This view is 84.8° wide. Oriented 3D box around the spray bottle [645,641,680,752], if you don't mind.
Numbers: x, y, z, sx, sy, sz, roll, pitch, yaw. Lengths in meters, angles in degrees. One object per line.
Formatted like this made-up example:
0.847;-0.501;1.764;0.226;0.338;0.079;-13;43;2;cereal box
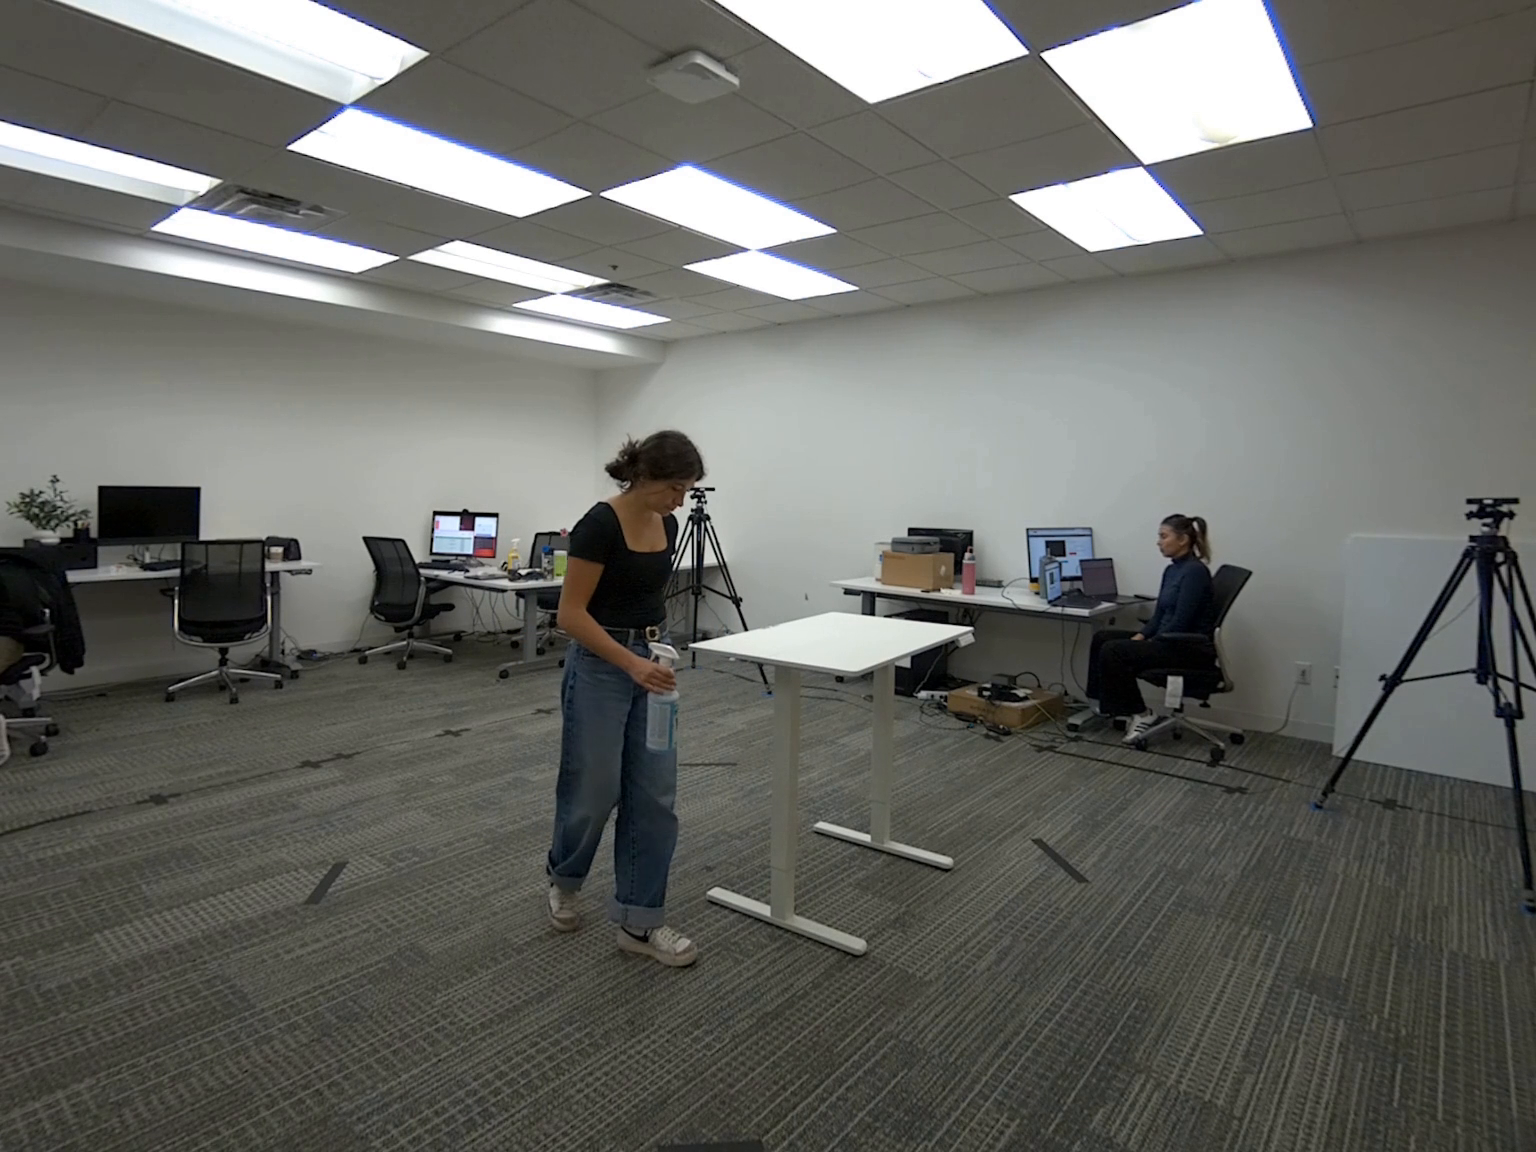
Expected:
-0.308;0.330;2.361;0.084;0.296;0.093;-2;6;-45;spray bottle
